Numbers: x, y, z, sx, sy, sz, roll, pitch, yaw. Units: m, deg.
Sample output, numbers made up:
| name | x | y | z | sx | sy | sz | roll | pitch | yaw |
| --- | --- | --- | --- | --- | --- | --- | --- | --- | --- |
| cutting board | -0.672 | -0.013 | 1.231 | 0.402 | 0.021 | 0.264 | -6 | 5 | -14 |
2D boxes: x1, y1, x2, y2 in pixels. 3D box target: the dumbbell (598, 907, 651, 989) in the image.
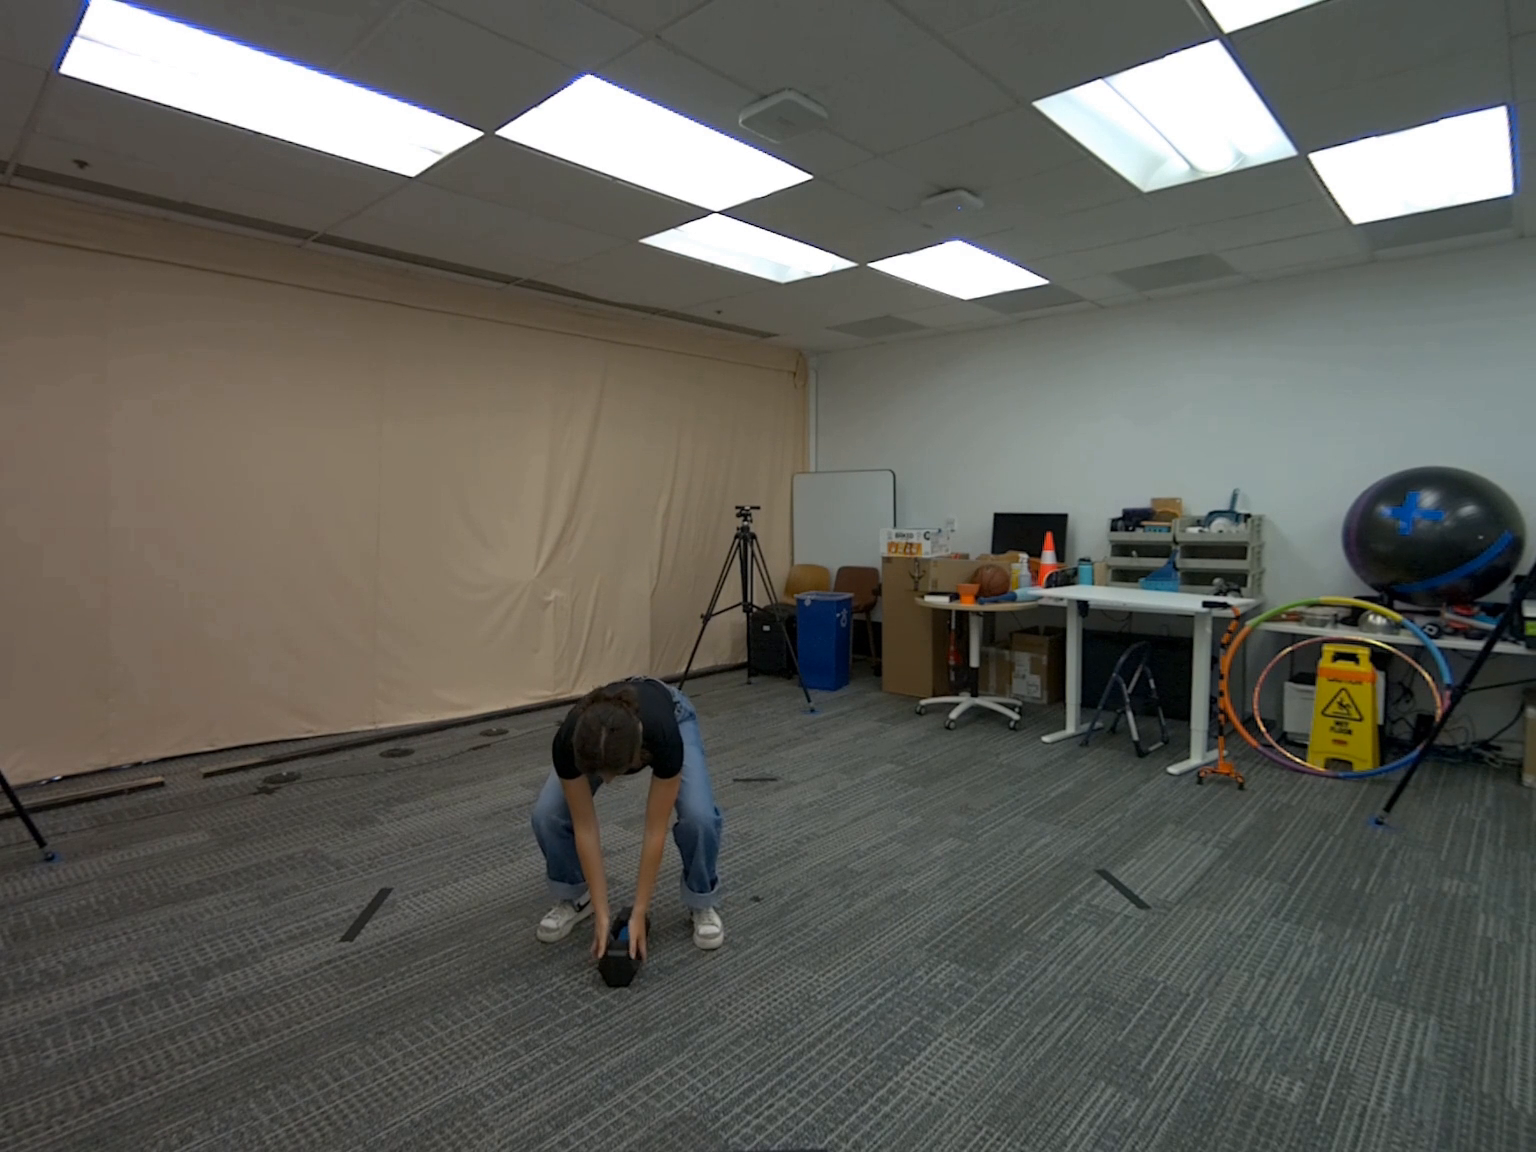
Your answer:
| name | x | y | z | sx | sy | sz | roll | pitch | yaw |
| --- | --- | --- | --- | --- | --- | --- | --- | --- | --- |
| dumbbell | -0.431 | 1.132 | 2.572 | 0.108 | 0.123 | 0.294 | 30 | 4 | -3 |
